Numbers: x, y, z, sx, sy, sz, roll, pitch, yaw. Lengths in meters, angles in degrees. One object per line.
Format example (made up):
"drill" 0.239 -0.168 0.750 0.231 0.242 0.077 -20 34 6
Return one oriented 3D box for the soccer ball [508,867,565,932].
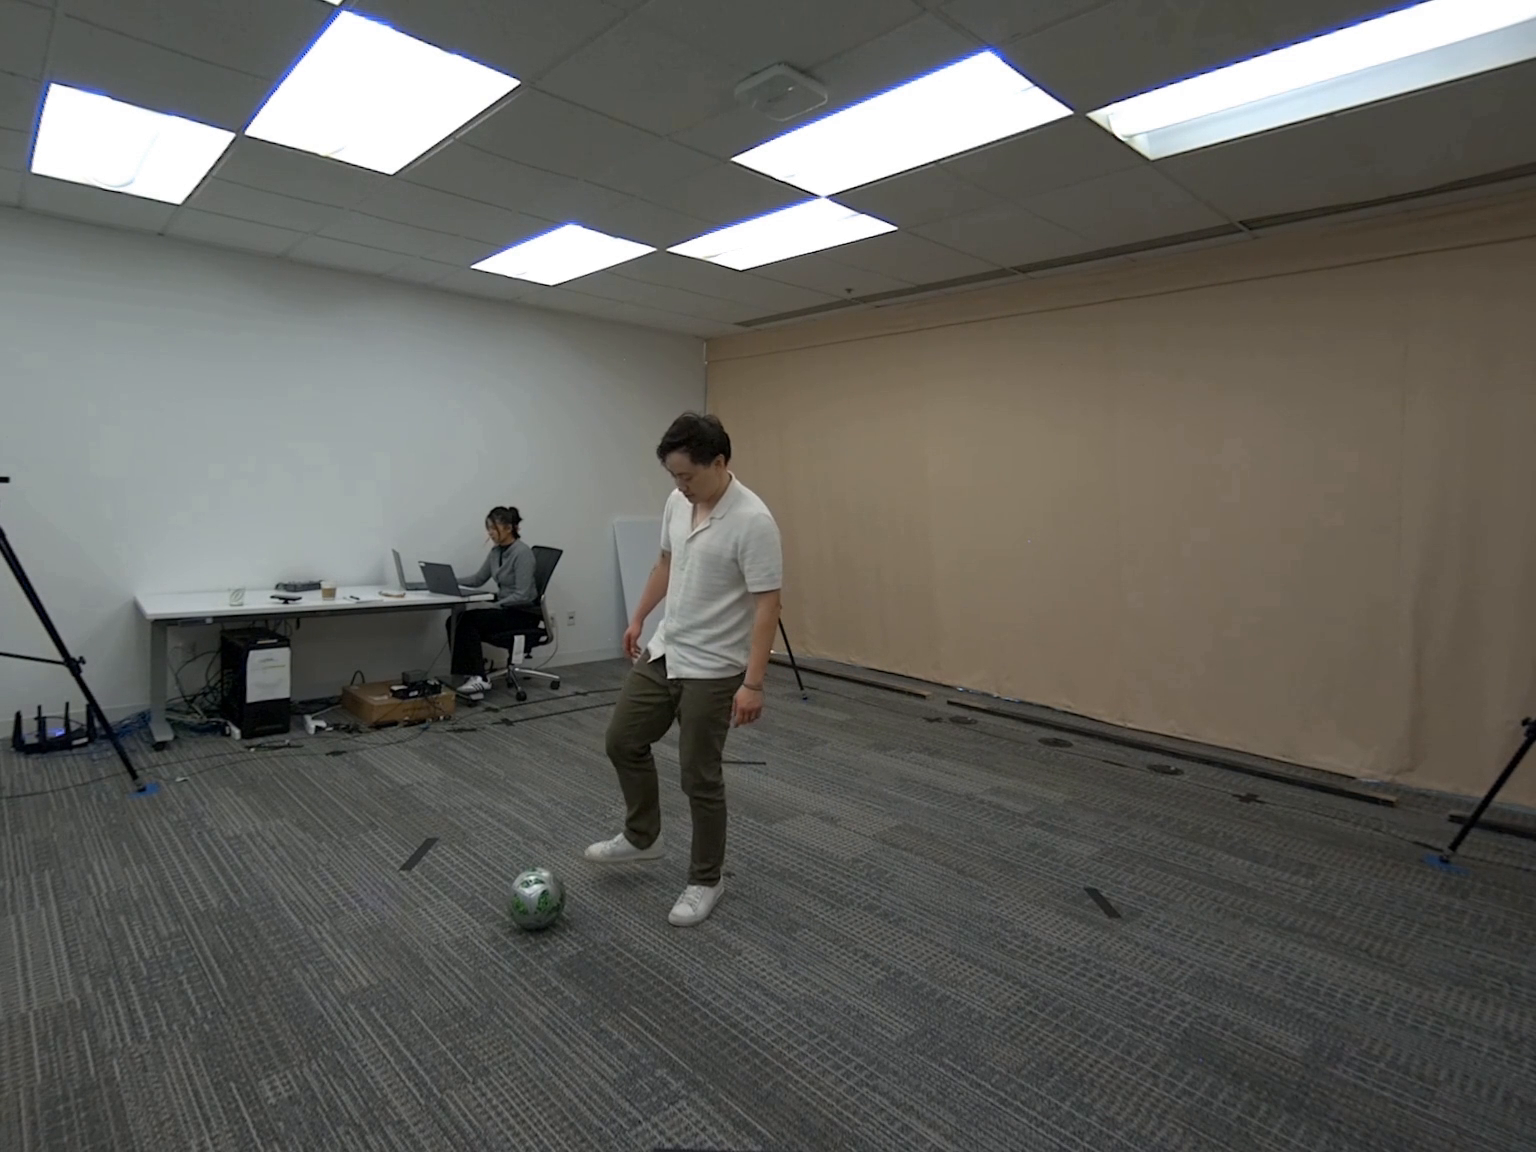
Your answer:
"soccer ball" -0.757 1.040 2.692 0.187 0.187 0.188 1 4 -1
